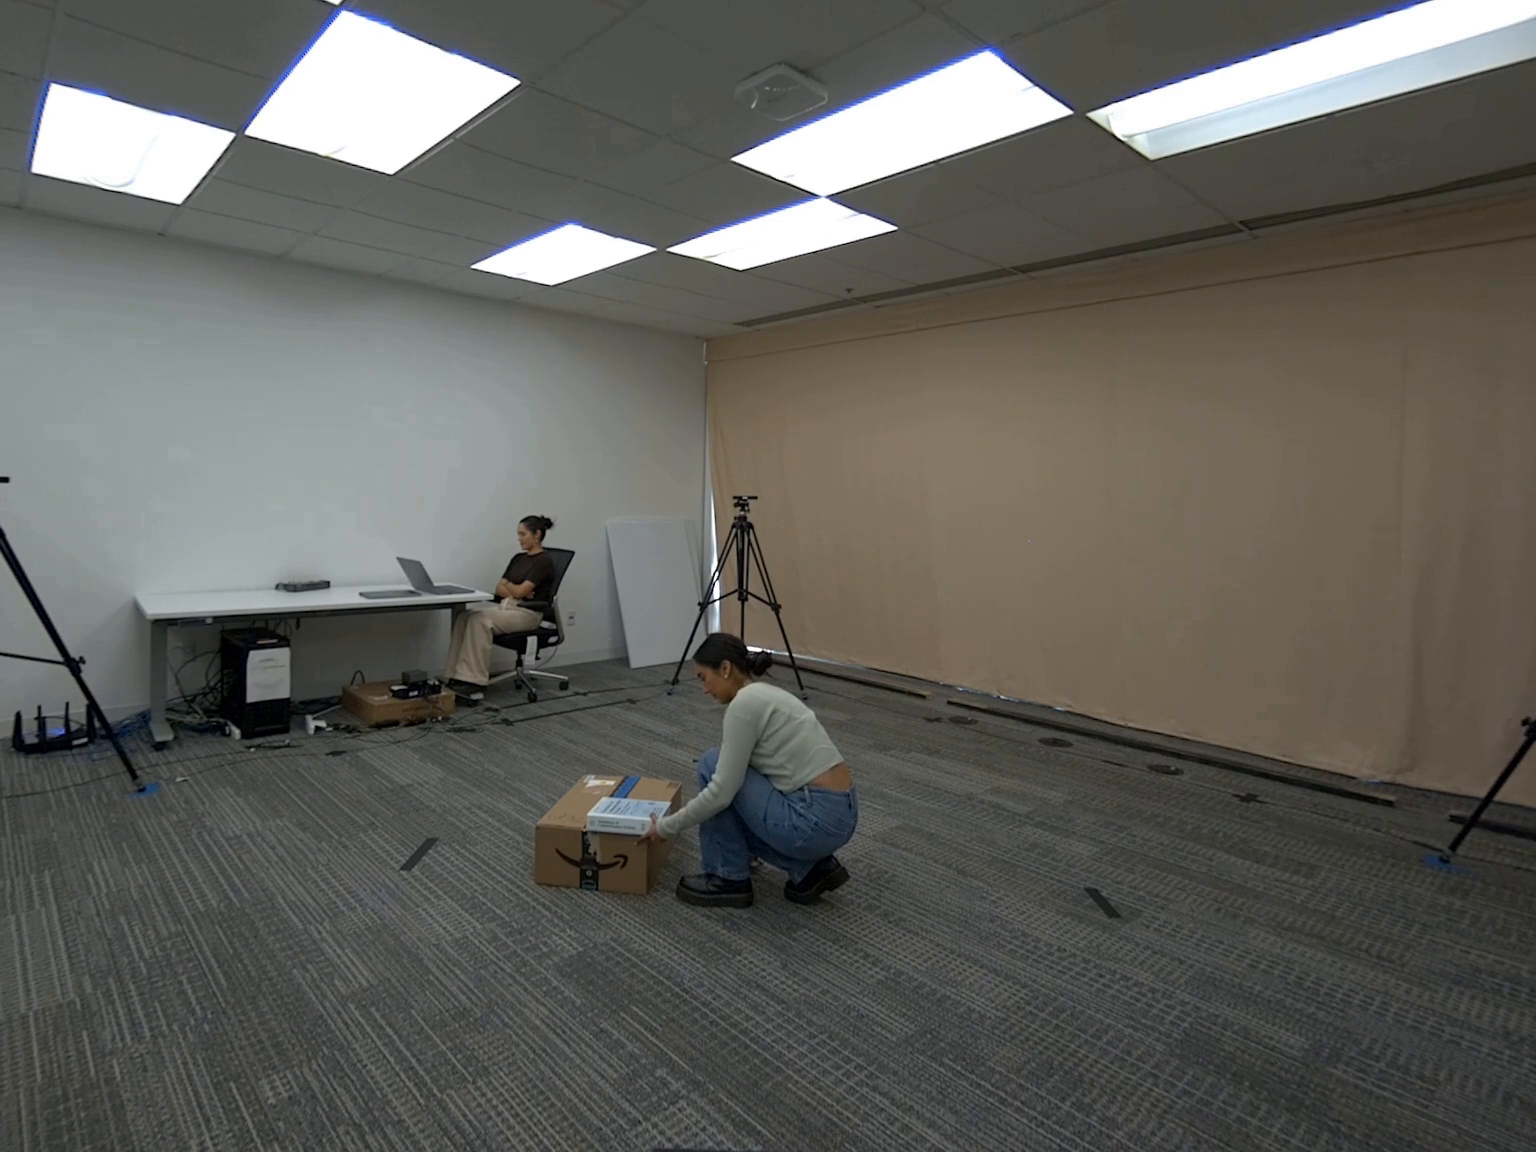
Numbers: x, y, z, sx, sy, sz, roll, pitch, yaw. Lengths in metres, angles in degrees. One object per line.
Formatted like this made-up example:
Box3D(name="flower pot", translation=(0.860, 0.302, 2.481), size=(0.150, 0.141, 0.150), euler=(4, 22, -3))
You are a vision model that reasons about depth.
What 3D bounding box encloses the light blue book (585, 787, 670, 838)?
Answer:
Box3D(name="light blue book", translation=(-0.494, 0.852, 3.011), size=(0.263, 0.059, 0.190), euler=(2, 4, 8))
